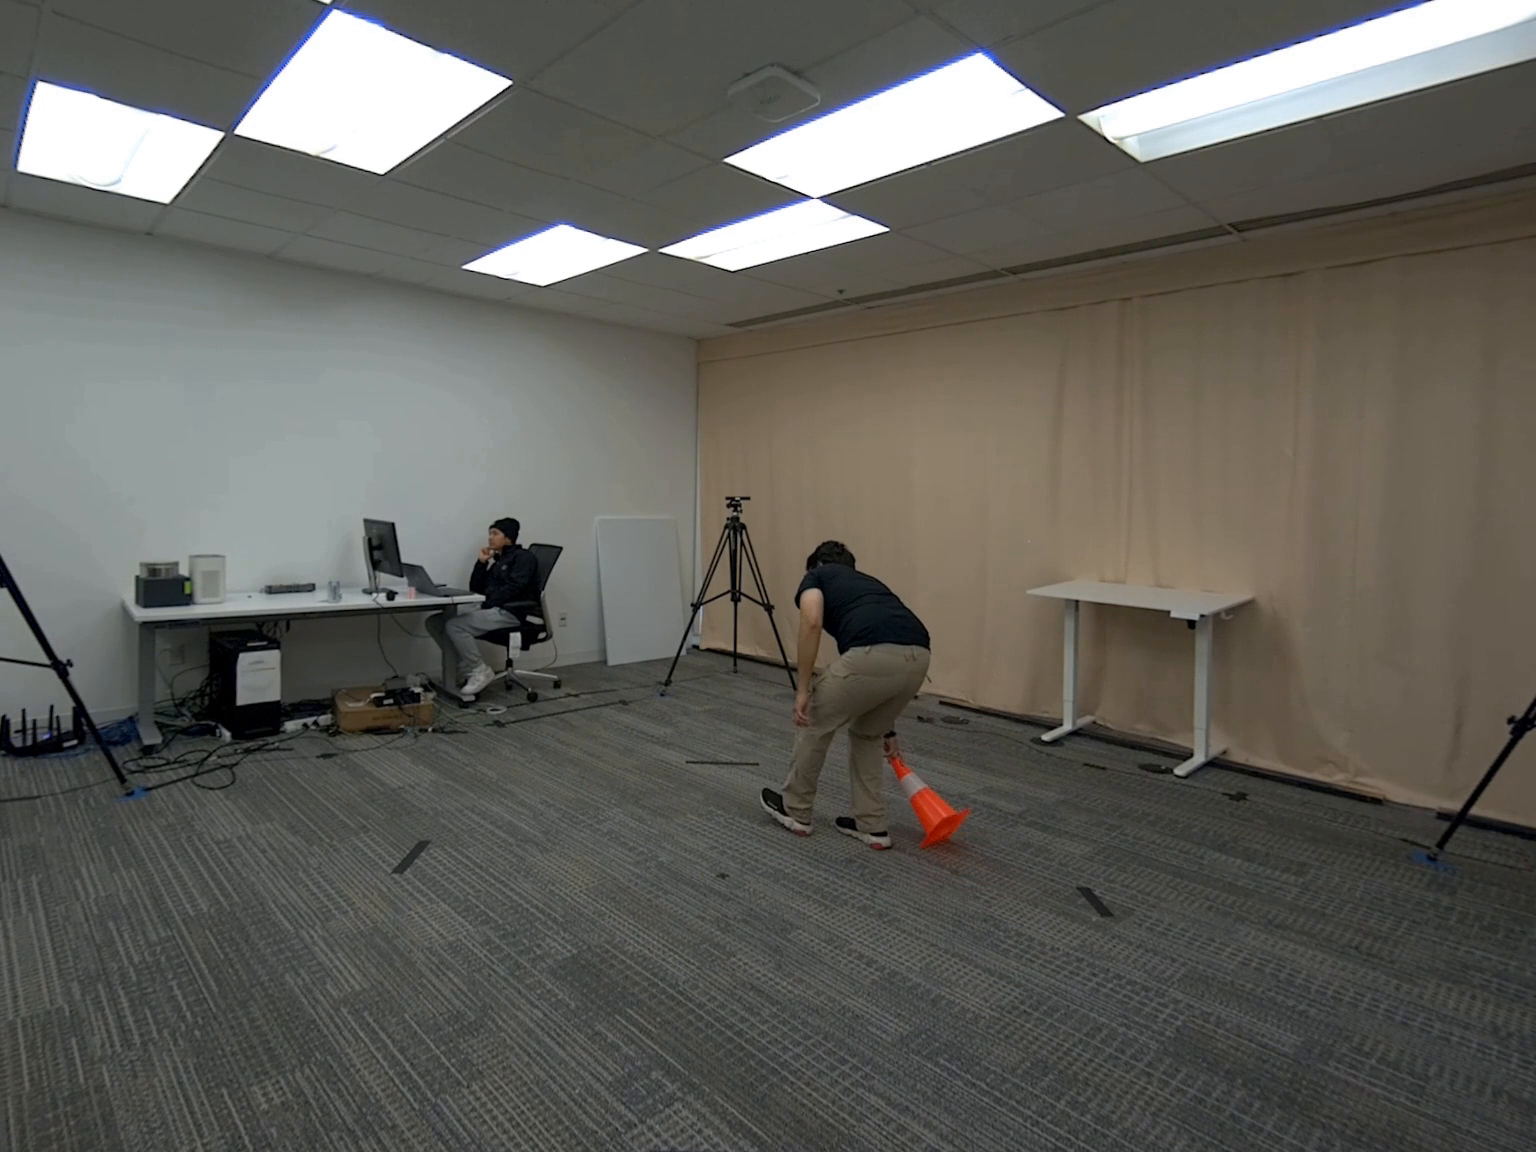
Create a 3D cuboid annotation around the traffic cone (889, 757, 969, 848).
[{"bbox_3d":[0.613,0.900,3.522,0.199,0.203,0.396,-3,41,-37],"label":"traffic cone"}]
